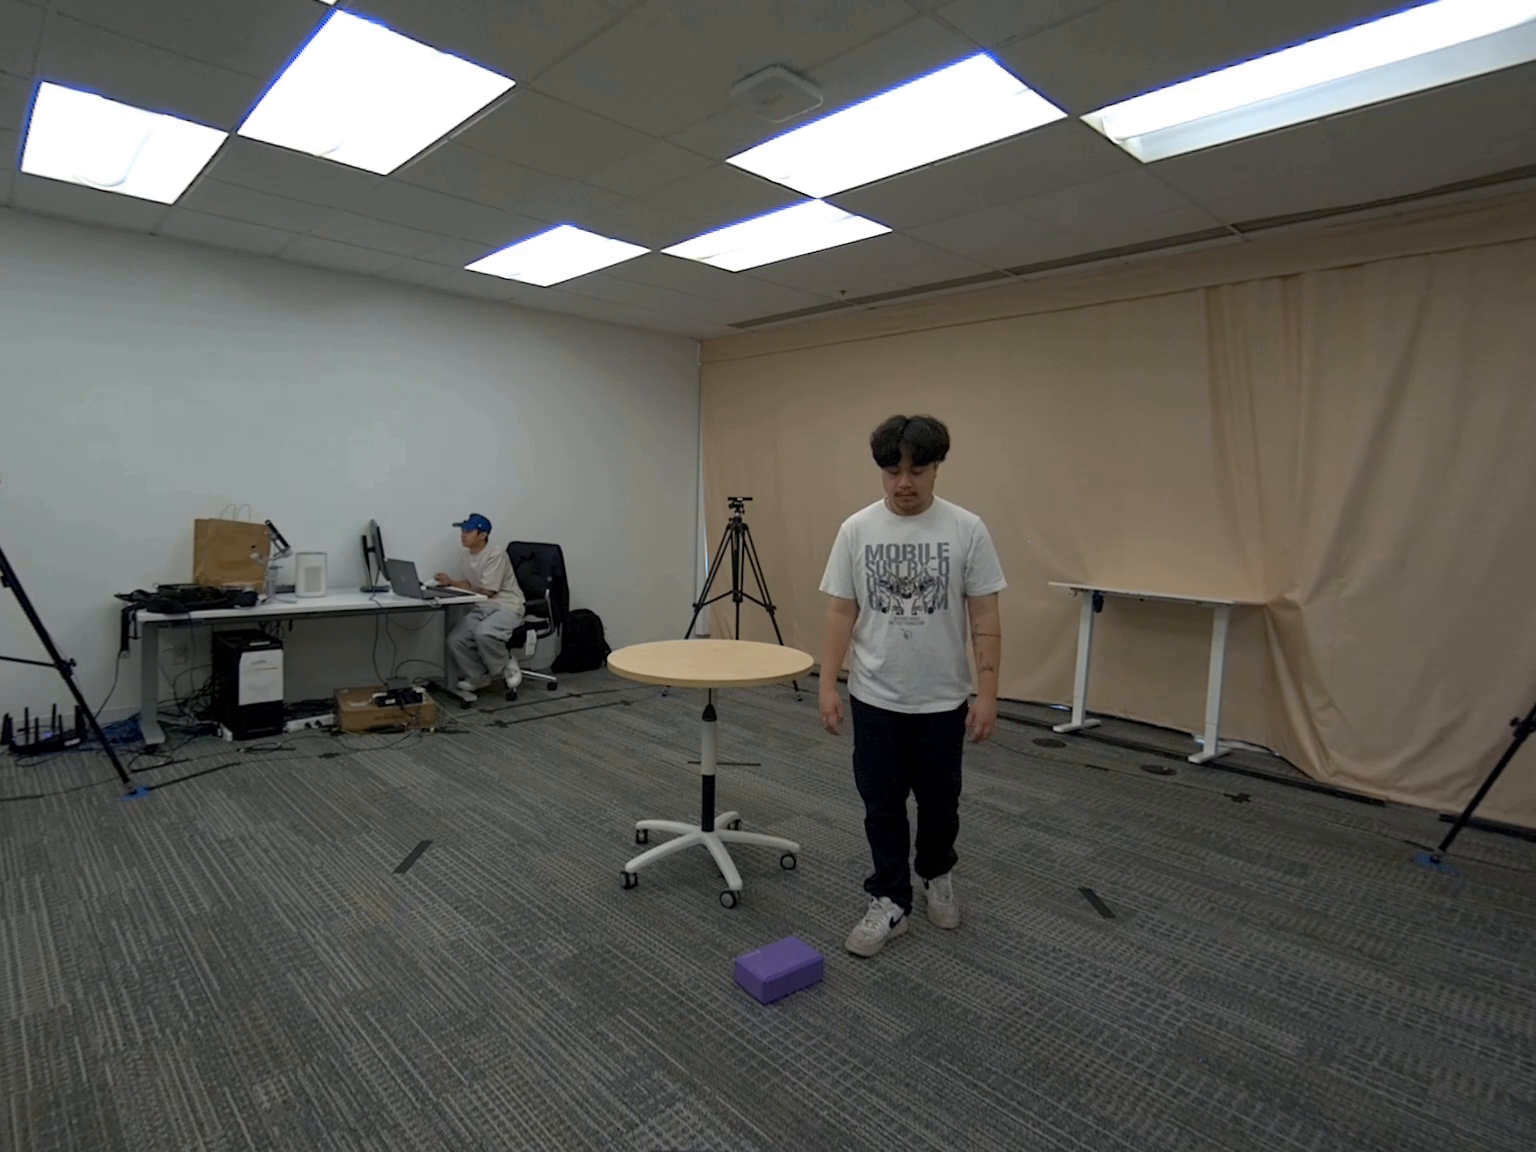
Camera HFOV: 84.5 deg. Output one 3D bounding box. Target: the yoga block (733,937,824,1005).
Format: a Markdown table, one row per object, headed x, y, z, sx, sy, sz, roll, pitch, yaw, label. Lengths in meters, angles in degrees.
| x | y | z | sx | sy | sz | roll | pitch | yaw | label |
| --- | --- | --- | --- | --- | --- | --- | --- | --- | --- |
| 0.030 | 1.135 | 2.430 | 0.224 | 0.076 | 0.153 | -4 | 7 | -38 | yoga block |
